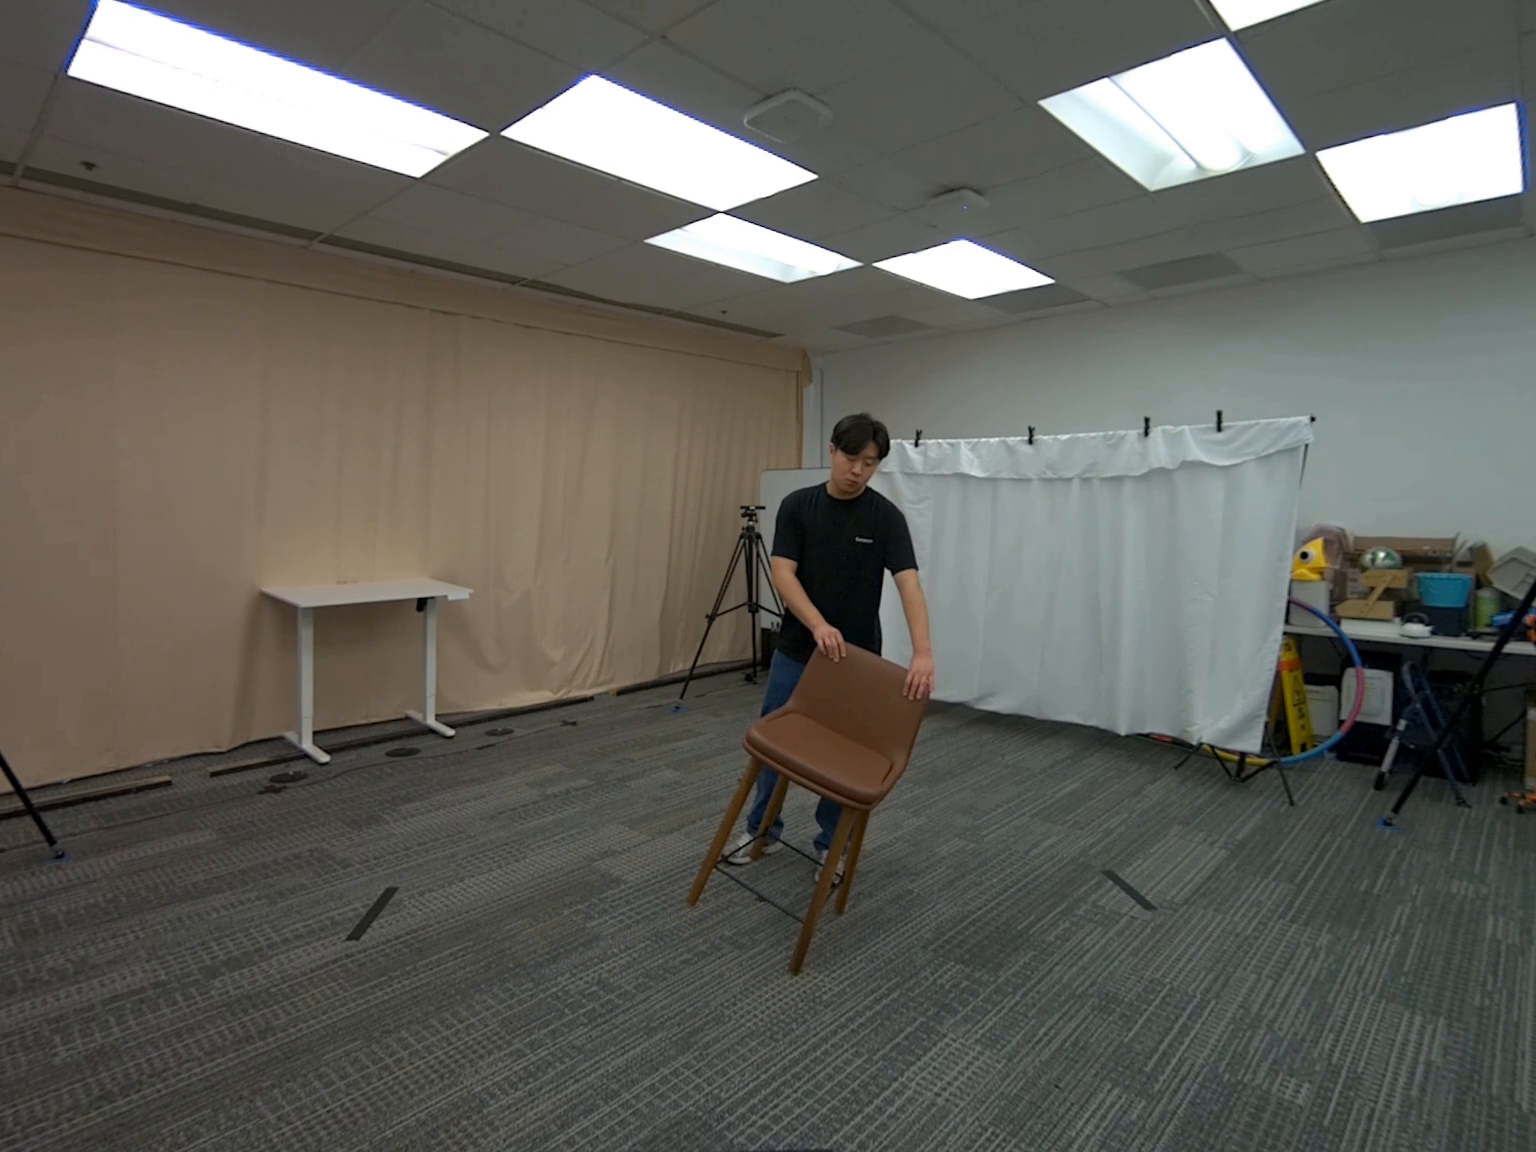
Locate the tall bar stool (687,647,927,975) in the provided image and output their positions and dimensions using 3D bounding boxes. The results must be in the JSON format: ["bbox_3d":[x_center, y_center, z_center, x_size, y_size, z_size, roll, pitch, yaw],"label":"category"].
[{"bbox_3d":[0.148,0.691,2.697,0.470,0.887,0.455,23,11,25],"label":"tall bar stool"}]
